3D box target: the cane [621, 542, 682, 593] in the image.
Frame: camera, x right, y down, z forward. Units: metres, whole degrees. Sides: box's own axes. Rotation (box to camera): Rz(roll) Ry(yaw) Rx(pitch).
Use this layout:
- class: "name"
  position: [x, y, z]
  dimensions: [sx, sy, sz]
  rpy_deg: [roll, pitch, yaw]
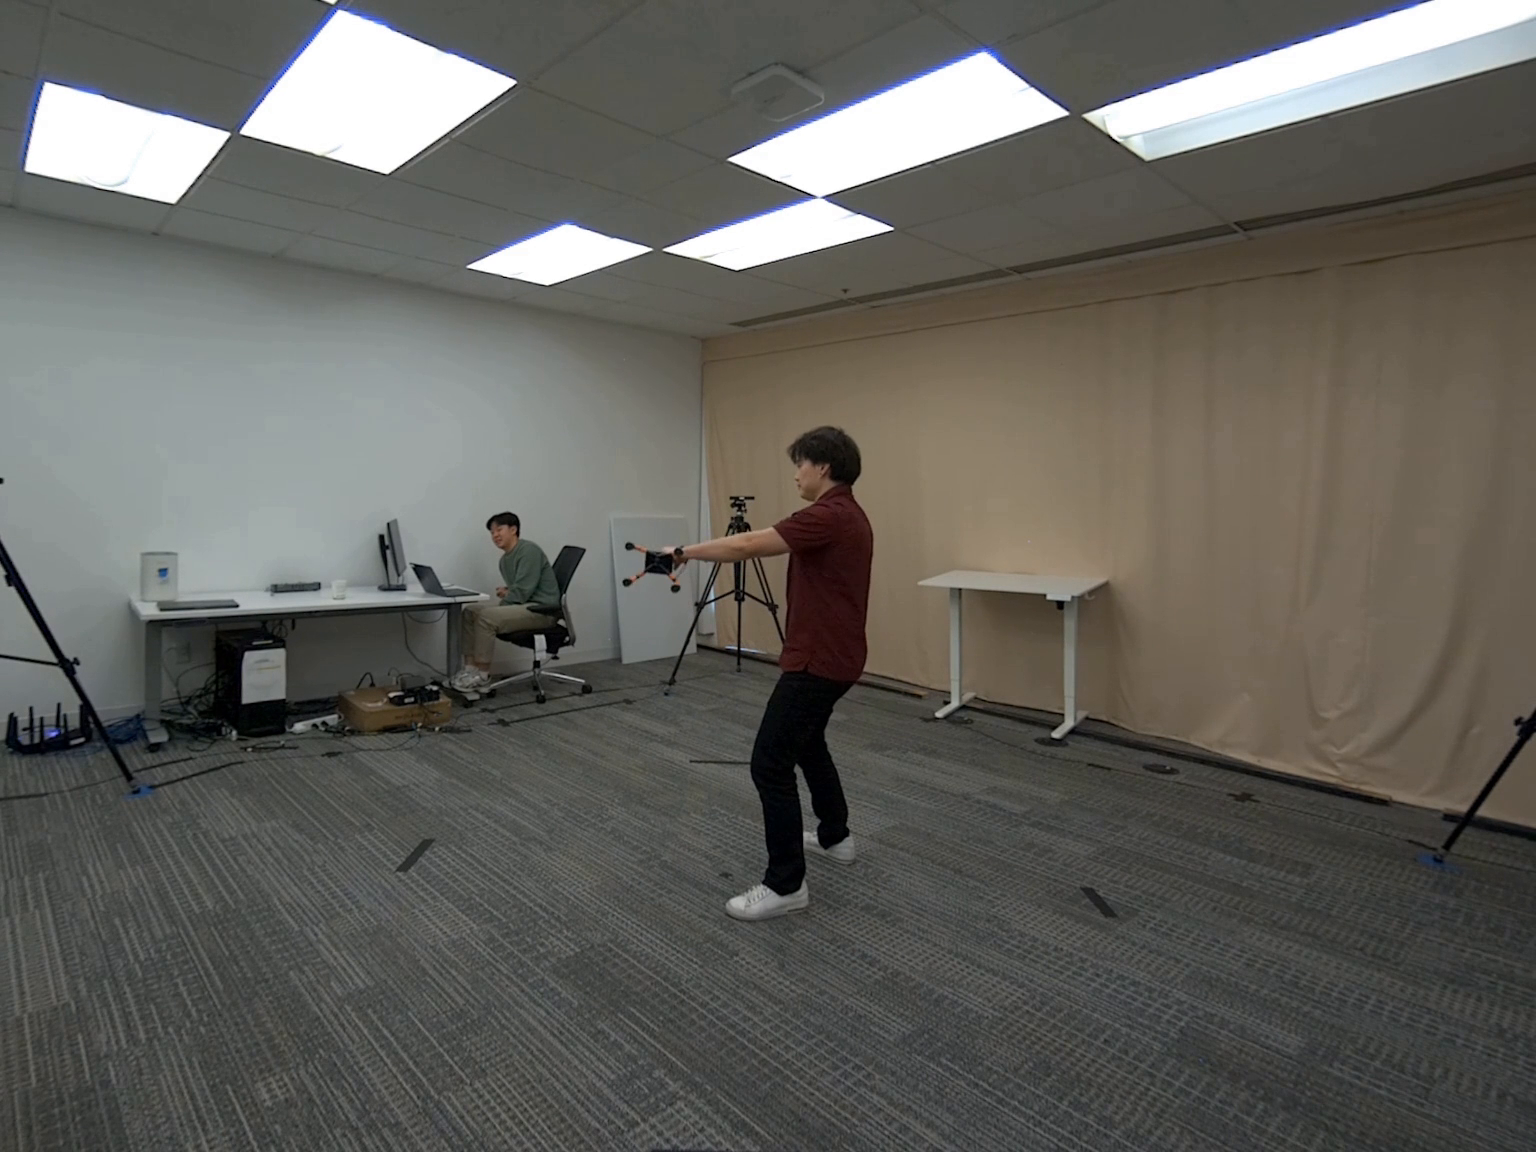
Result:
- class: "cane"
  position: [-0.279, -0.062, 3.252]
  dimensions: [0.209, 0.151, 0.898]
  rpy_deg: [5, 6, 15]
